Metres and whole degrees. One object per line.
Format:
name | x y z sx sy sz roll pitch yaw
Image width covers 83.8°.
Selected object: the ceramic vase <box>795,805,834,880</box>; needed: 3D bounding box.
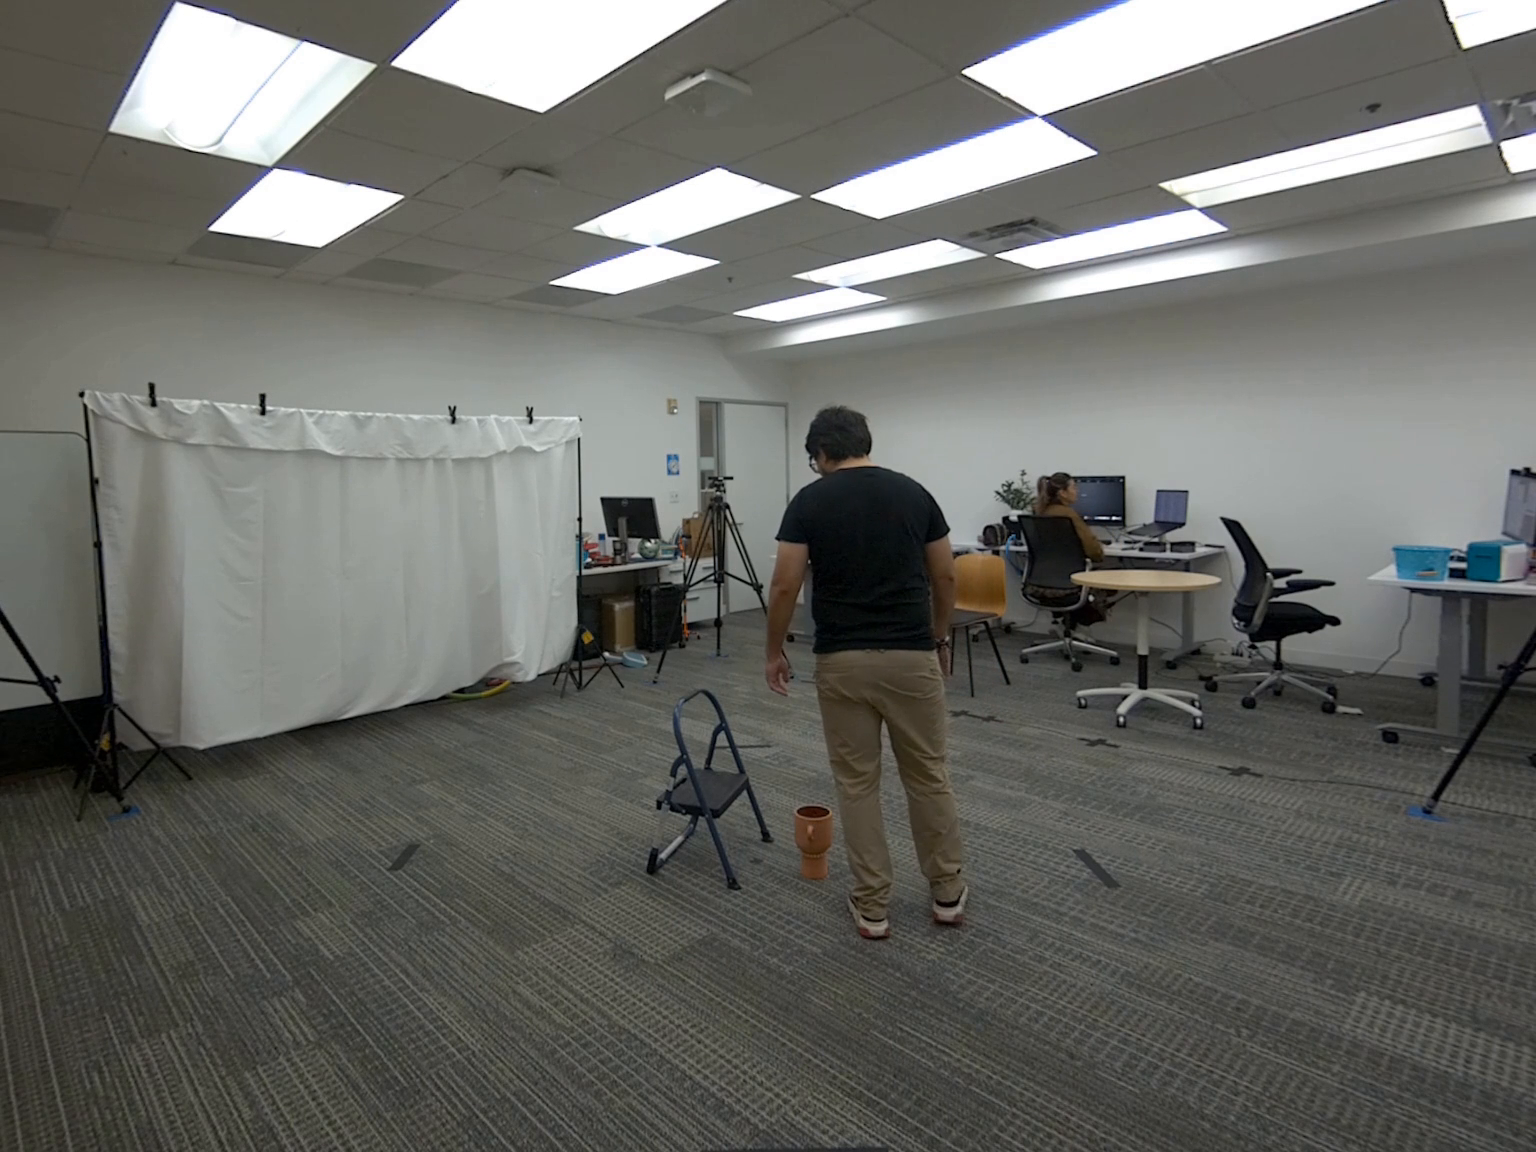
ceramic vase | 0.160 0.928 2.993 0.154 0.219 0.139 -4 5 -39
